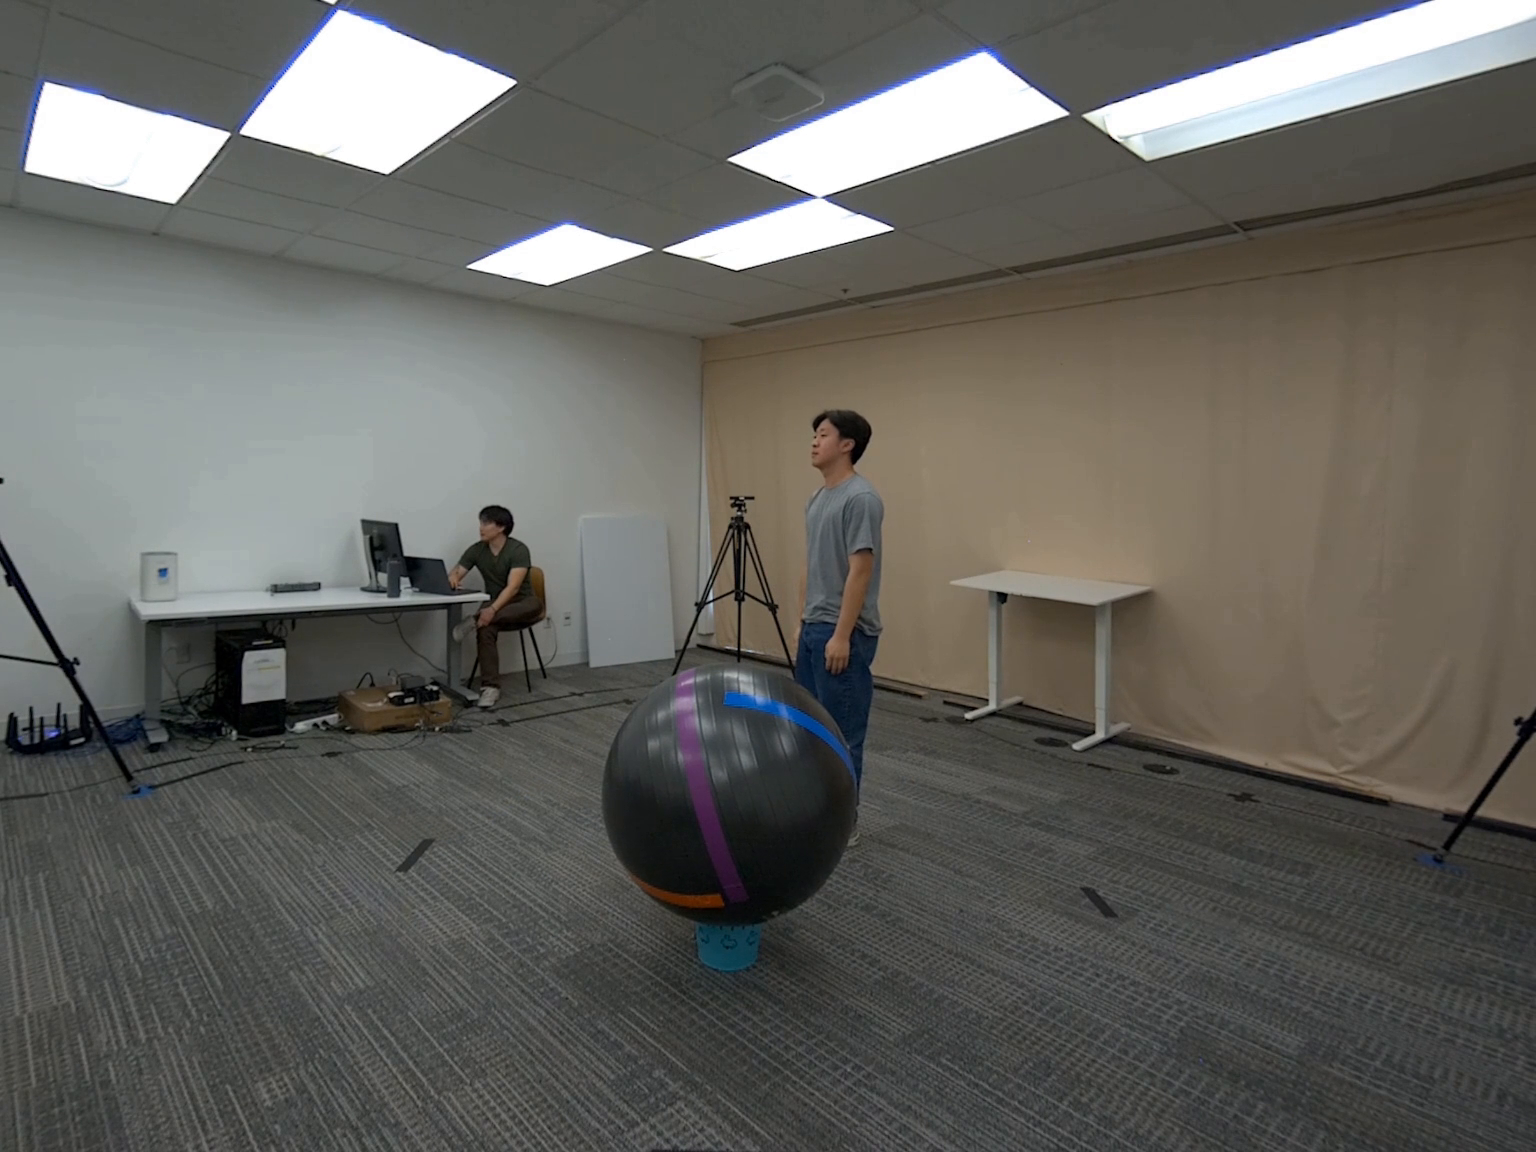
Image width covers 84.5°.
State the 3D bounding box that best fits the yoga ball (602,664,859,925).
[{"bbox_3d":[-0.122,0.649,2.532,0.757,0.756,0.761,1,4,-1],"label":"yoga ball"}]
